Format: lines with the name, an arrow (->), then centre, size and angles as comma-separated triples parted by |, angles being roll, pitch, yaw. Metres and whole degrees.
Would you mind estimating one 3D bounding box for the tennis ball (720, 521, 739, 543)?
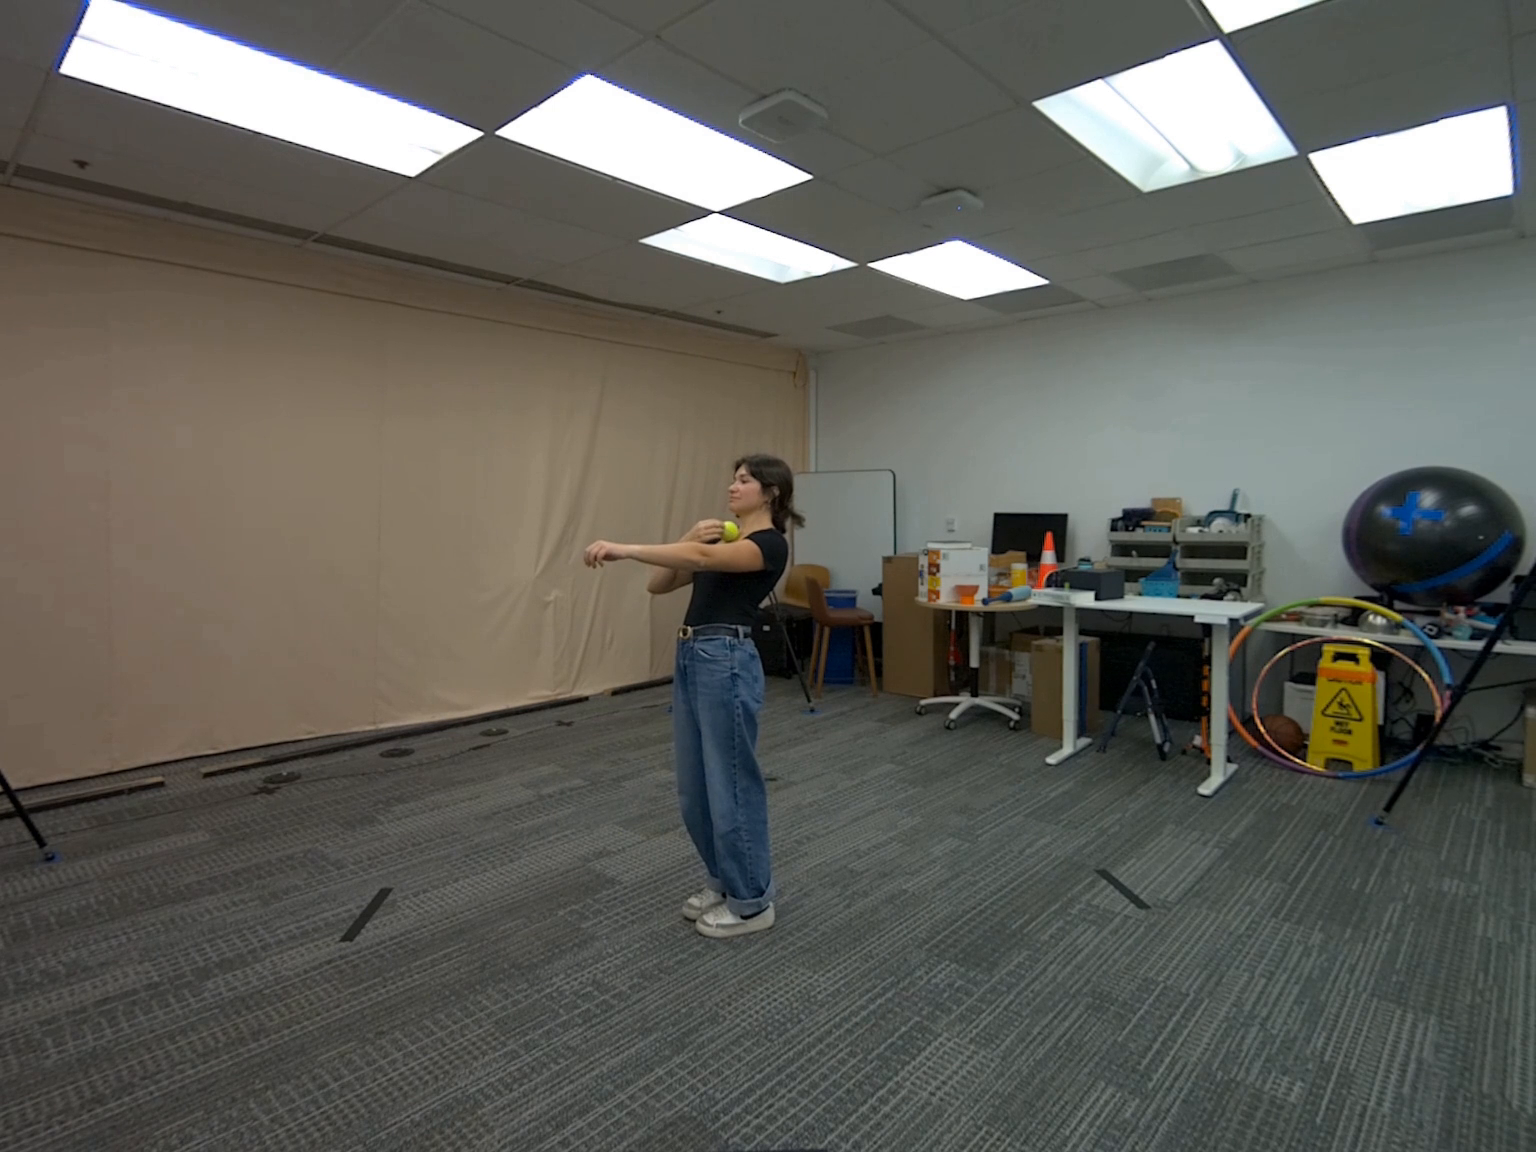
tennis ball -> -0.125, -0.147, 2.788 | 0.066, 0.066, 0.067 | 0, 4, -2
